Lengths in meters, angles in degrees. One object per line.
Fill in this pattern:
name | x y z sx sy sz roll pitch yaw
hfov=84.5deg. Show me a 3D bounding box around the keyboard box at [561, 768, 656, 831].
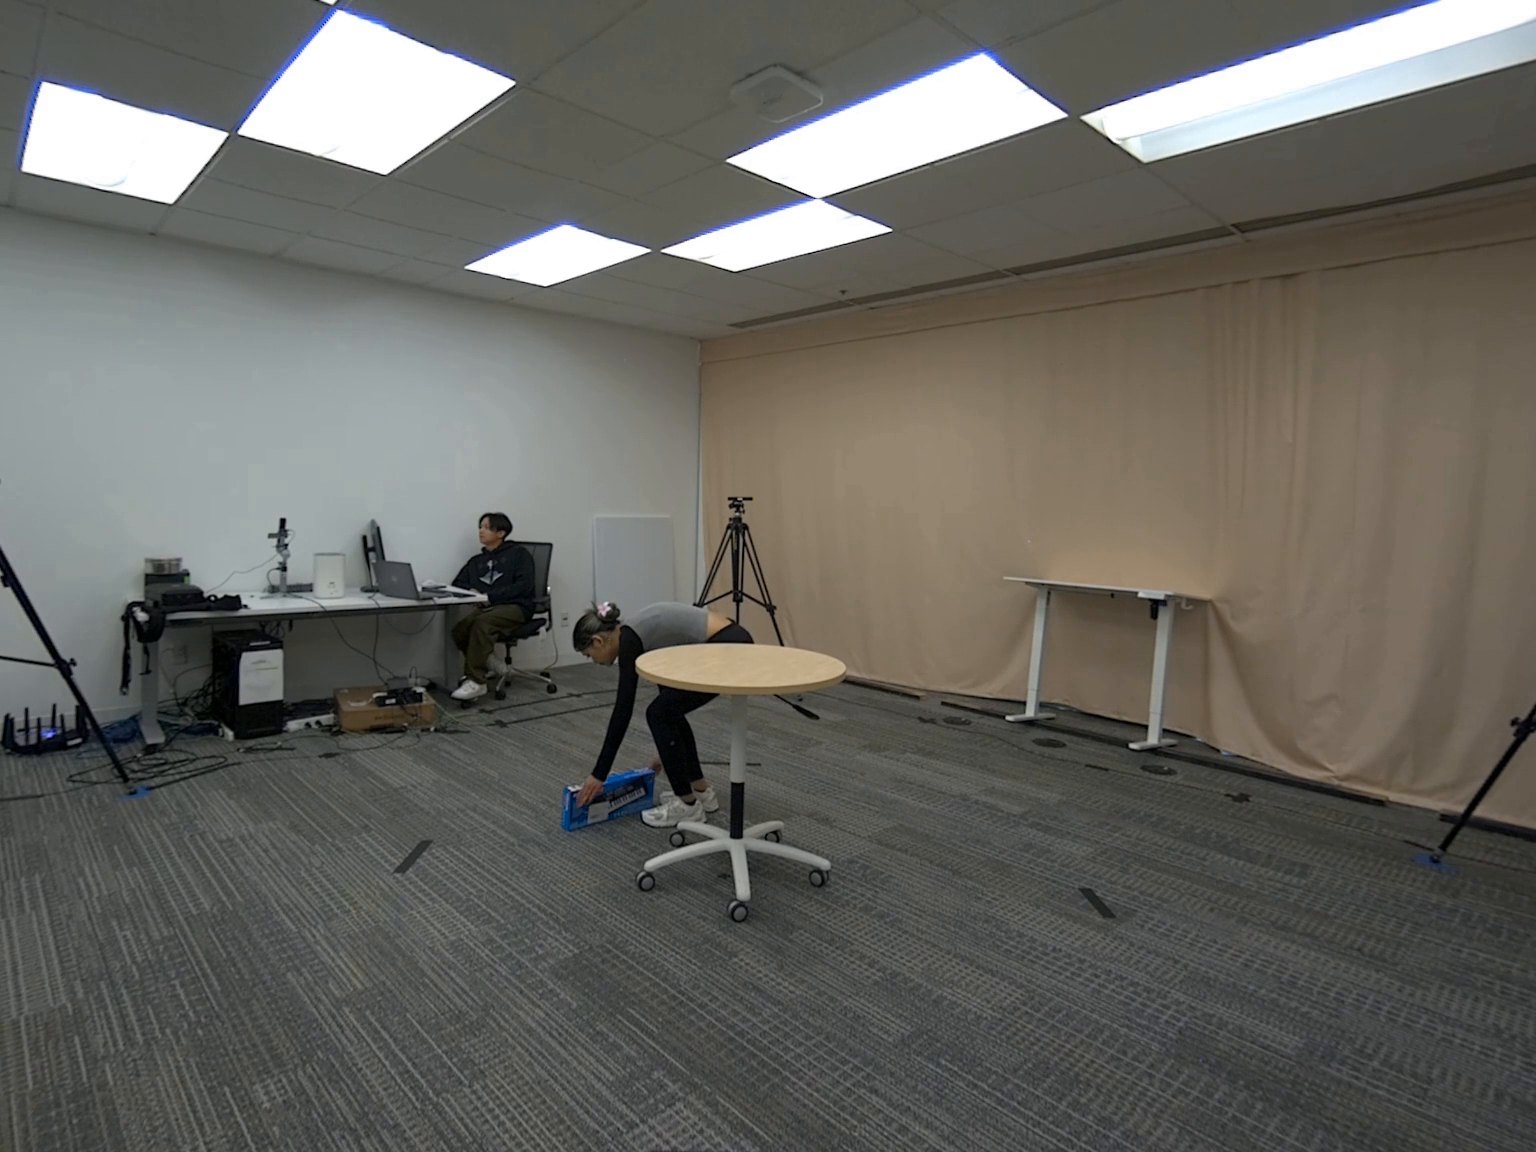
keyboard box | -0.690 0.960 3.636 0.427 0.175 0.061 -3 12 -44
